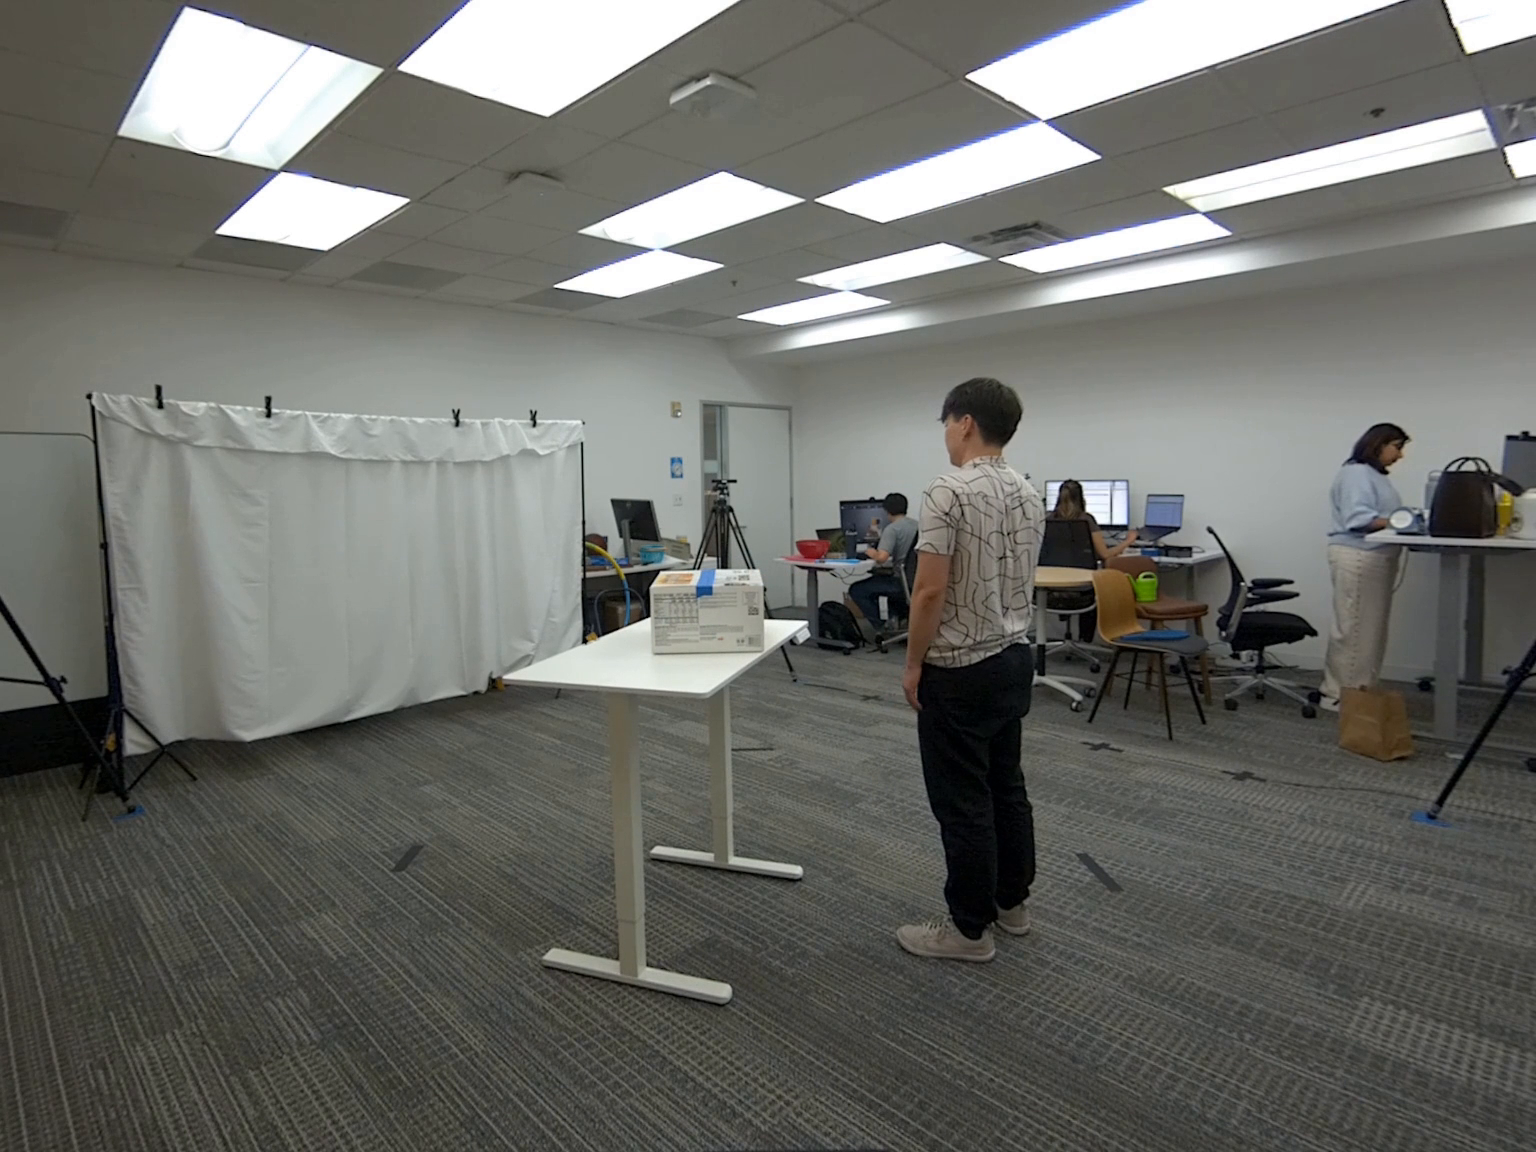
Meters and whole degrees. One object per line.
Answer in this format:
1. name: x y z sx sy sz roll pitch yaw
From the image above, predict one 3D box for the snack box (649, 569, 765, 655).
1. snack box: -0.183 0.105 2.740 0.340 0.204 0.407 -2 7 -1
